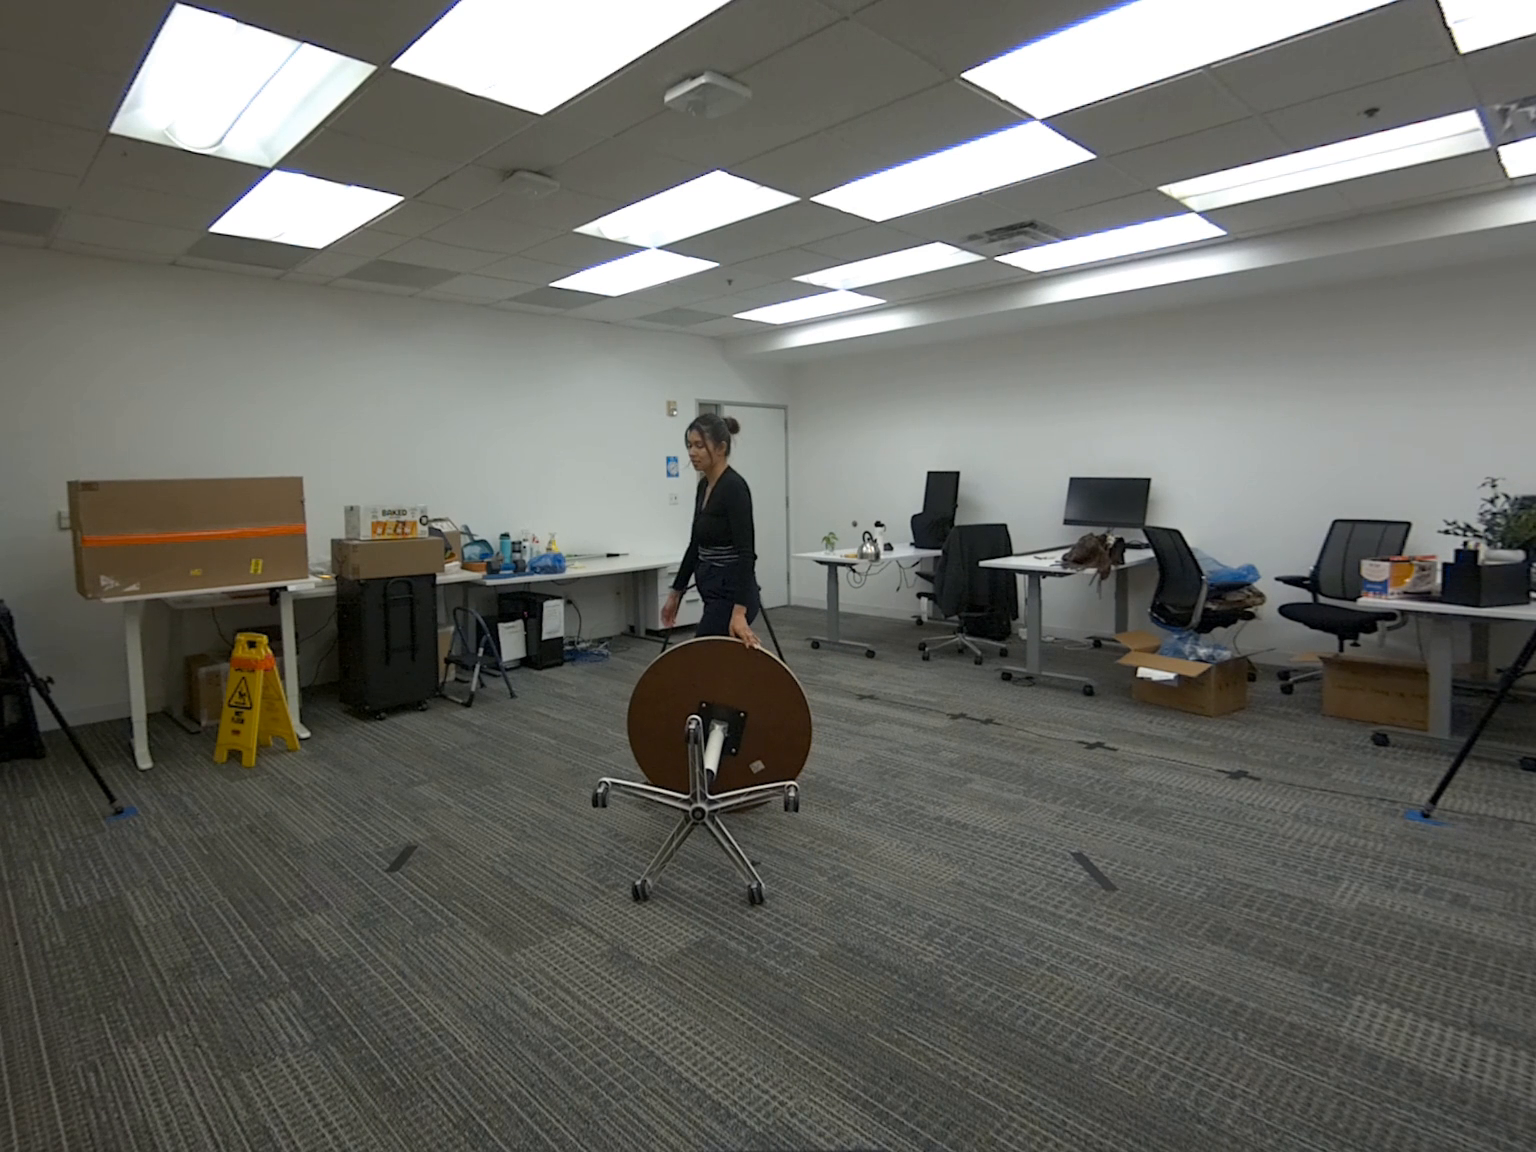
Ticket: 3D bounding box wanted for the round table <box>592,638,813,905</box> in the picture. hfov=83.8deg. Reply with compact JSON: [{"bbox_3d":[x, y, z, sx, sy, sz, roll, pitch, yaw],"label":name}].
[{"bbox_3d":[-0.214,0.715,3.140,0.767,0.756,0.799,-1,12,4],"label":"round table"}]
